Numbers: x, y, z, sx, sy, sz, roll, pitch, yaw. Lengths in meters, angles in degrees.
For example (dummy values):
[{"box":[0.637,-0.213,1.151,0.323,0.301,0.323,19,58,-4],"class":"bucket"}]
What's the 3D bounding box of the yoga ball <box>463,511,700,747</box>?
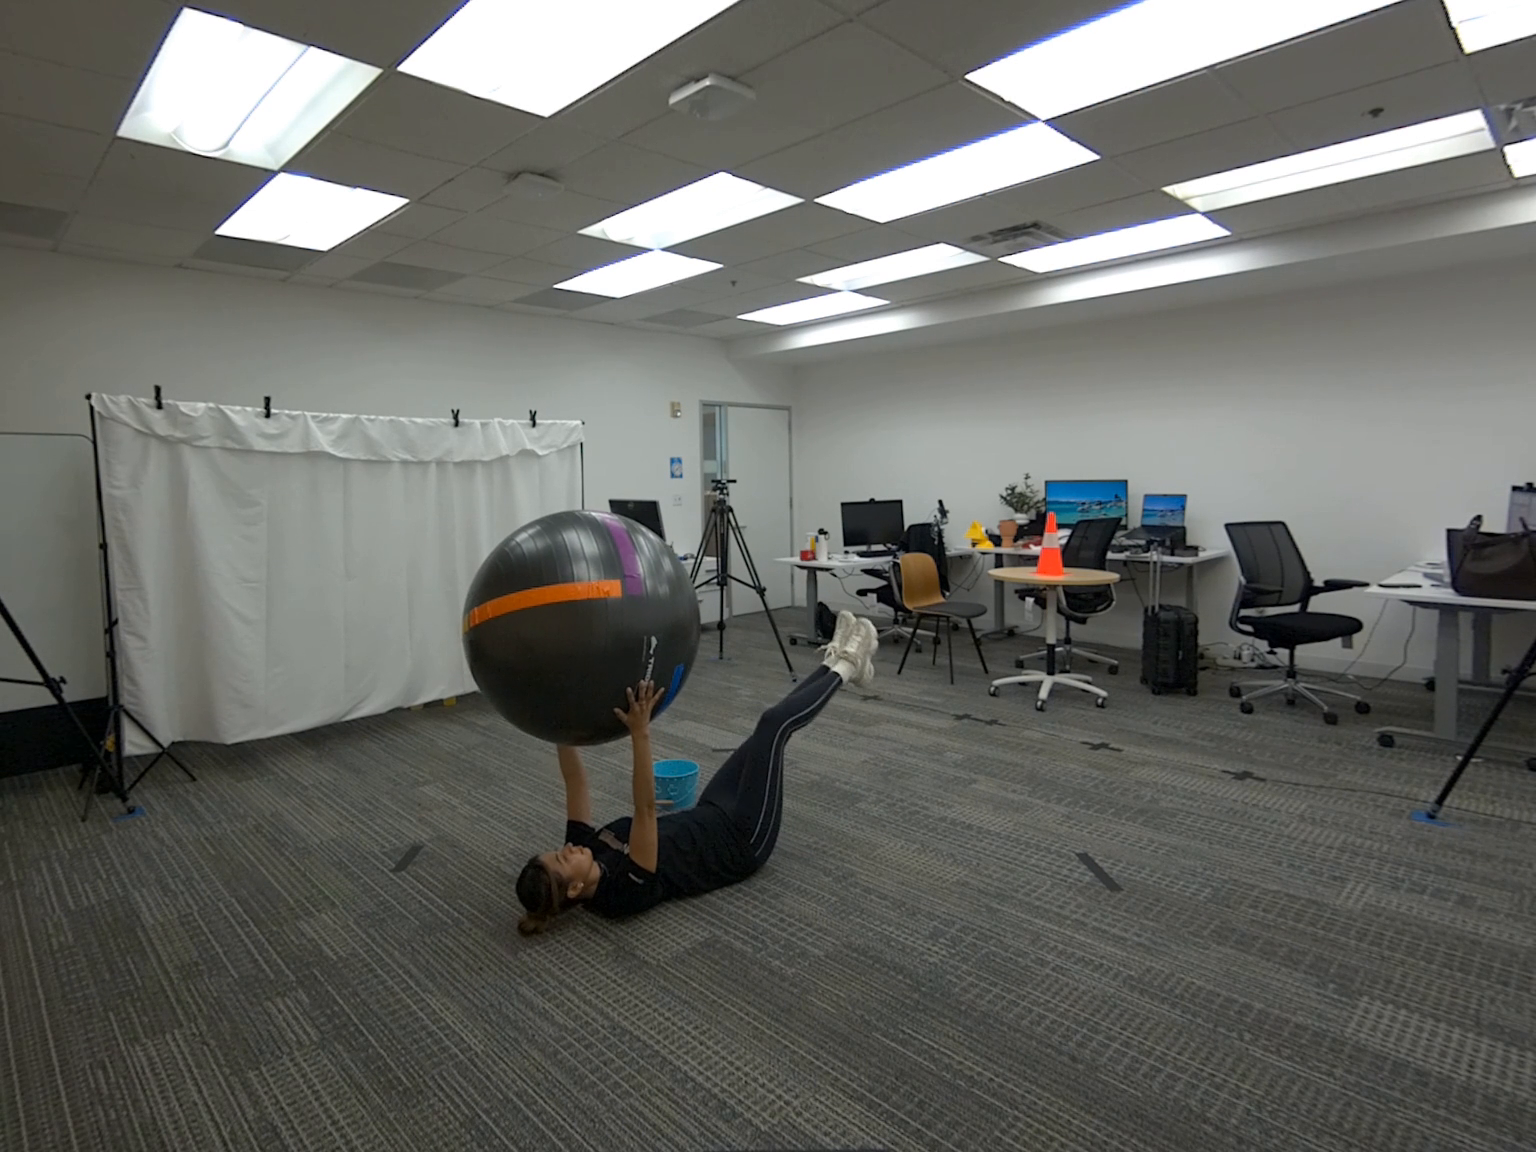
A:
[{"box":[-0.599,0.167,2.776,0.757,0.757,0.759,0,1,-2],"class":"yoga ball"}]
